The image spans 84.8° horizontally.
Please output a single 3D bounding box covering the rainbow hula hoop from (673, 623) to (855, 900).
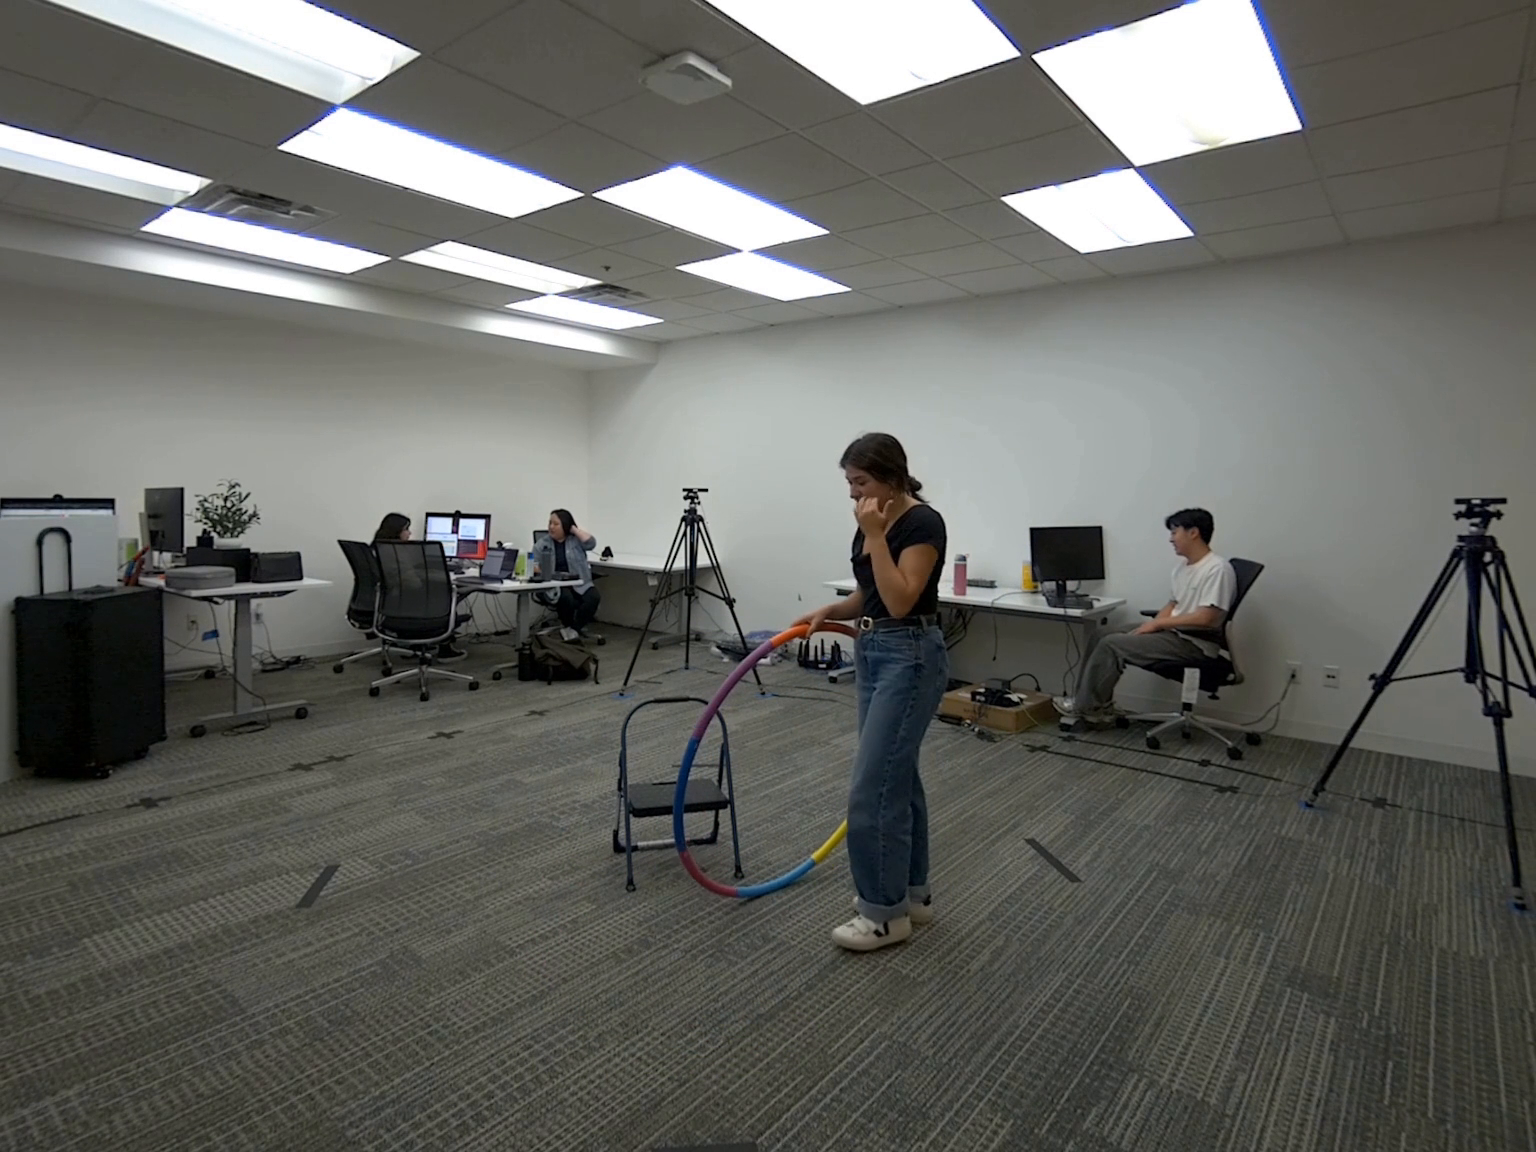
[{"bbox_3d":[0.086,0.617,2.862,0.949,0.969,0.037,-3,16,-40],"label":"rainbow hula hoop"}]
